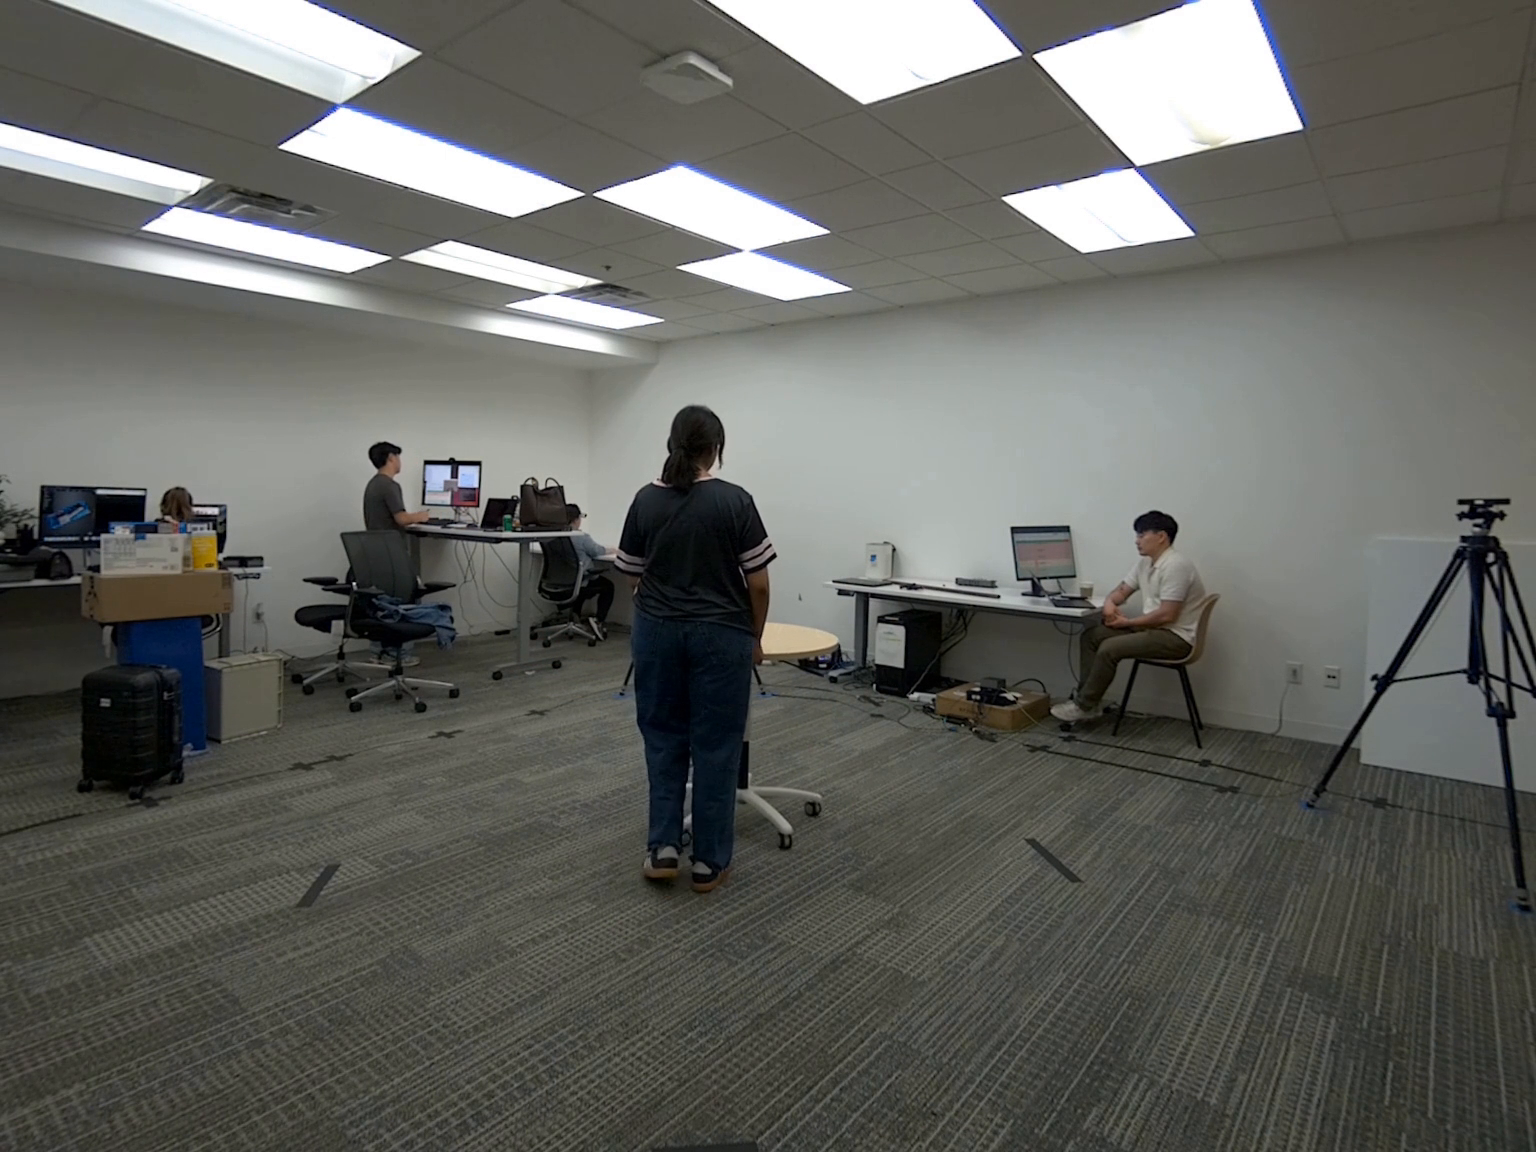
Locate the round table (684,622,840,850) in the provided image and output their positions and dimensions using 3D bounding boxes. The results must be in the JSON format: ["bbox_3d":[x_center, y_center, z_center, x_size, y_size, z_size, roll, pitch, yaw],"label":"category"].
[{"bbox_3d":[-0.128,0.632,3.554,0.784,0.784,0.789,2,4,-2],"label":"round table"}]
